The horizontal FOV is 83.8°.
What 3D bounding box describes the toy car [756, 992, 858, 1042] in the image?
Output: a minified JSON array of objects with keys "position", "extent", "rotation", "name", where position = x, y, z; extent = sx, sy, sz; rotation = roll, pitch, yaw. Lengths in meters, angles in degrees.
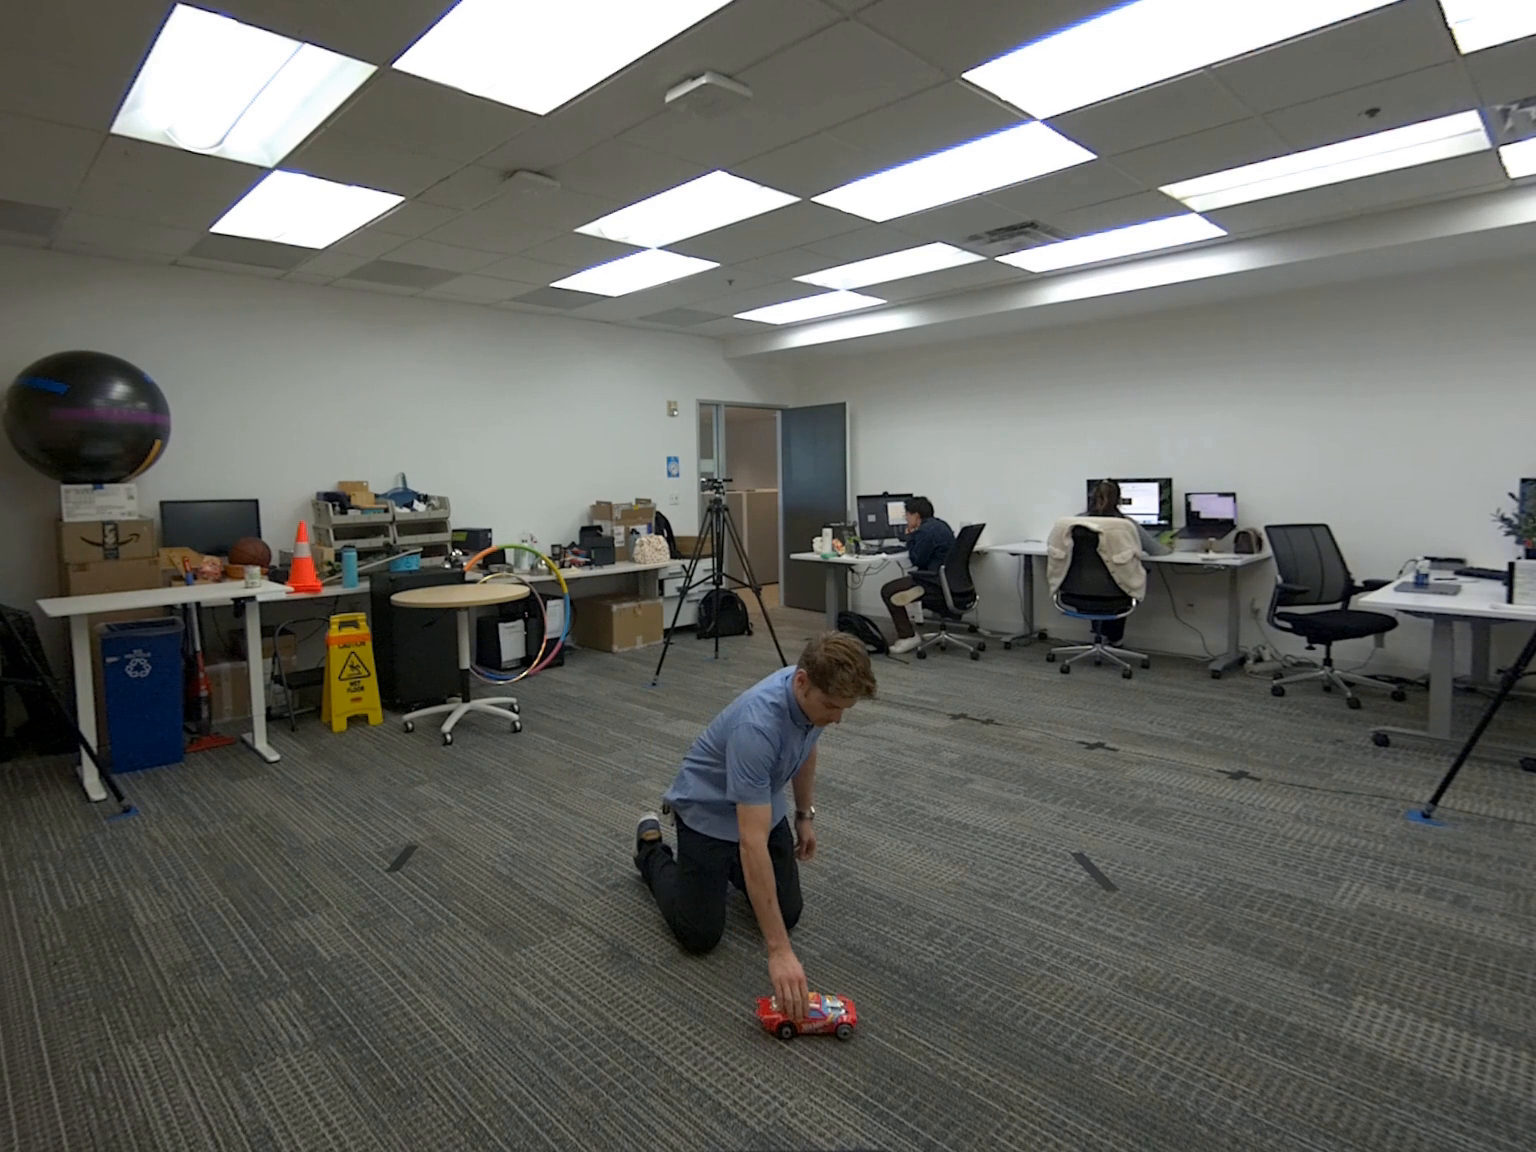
[{"position":[0.100,1.122,2.185],"extent":[0.254,0.083,0.131],"rotation":[9,6,-2],"name":"toy car"}]
